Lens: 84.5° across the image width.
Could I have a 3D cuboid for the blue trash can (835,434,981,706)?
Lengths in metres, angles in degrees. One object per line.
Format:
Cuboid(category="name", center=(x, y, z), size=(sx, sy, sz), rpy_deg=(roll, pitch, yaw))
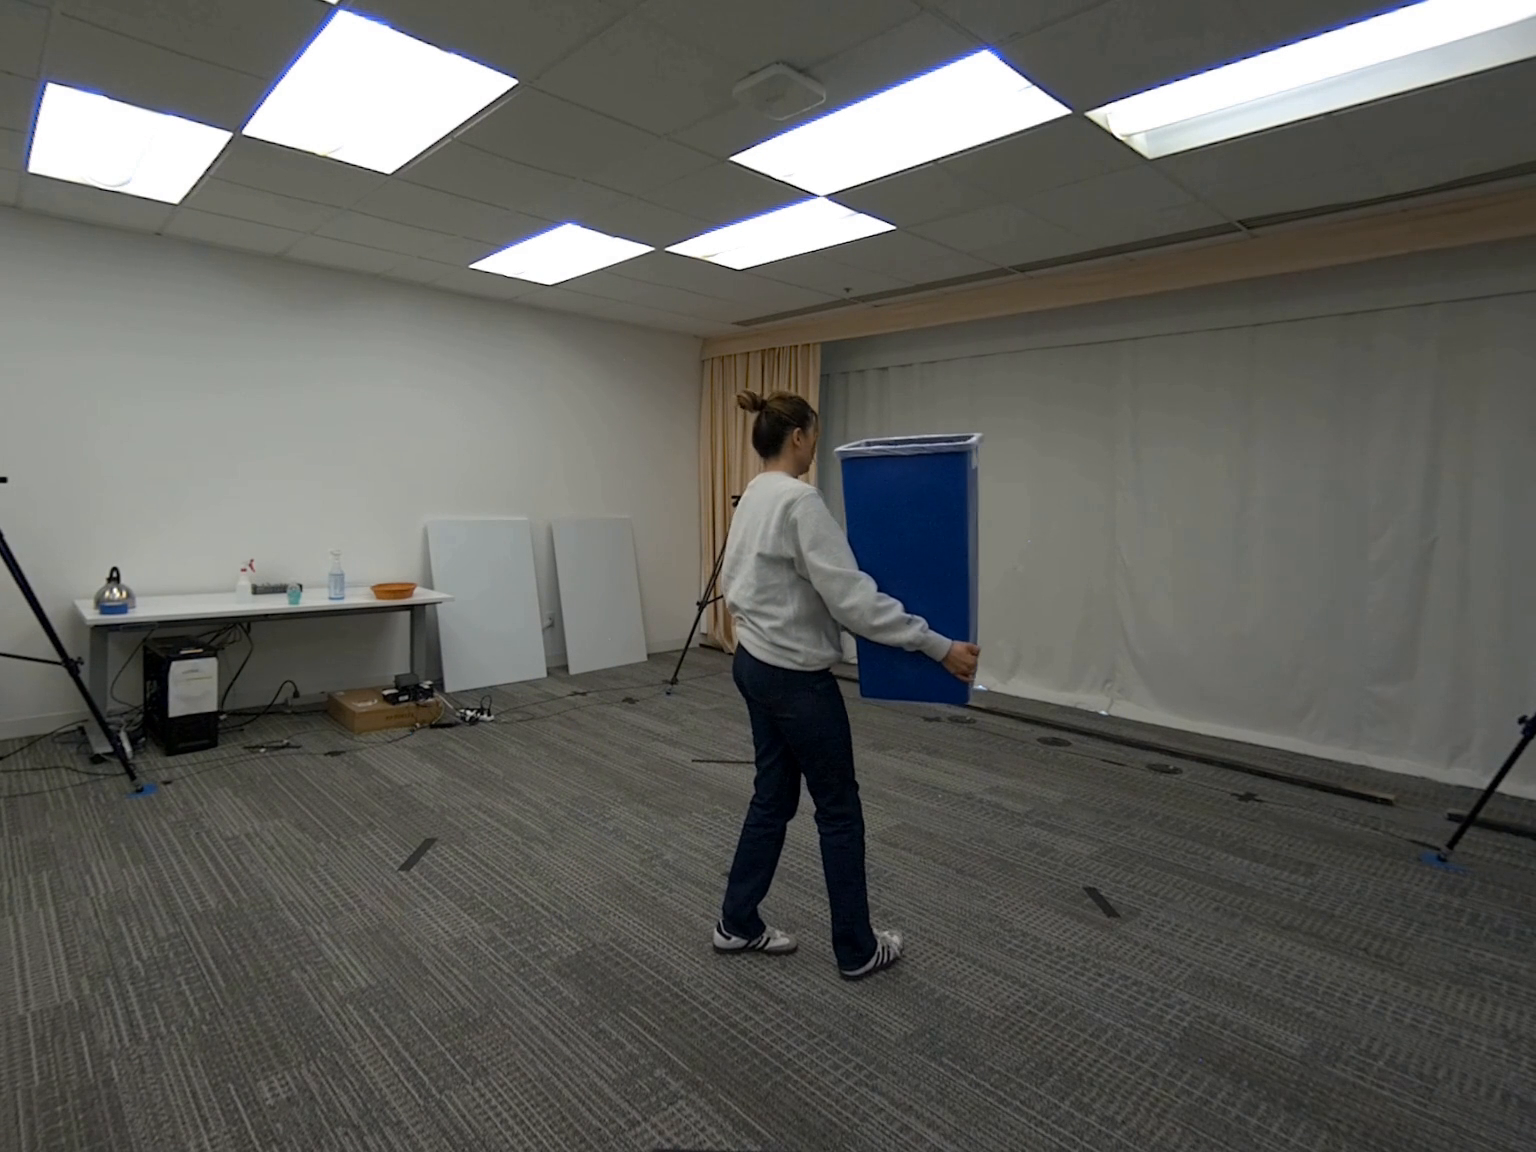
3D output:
Cuboid(category="blue trash can", center=(0.415, -0.035, 2.410), size=(0.380, 0.708, 0.375), rpy_deg=(0, 11, 20))
